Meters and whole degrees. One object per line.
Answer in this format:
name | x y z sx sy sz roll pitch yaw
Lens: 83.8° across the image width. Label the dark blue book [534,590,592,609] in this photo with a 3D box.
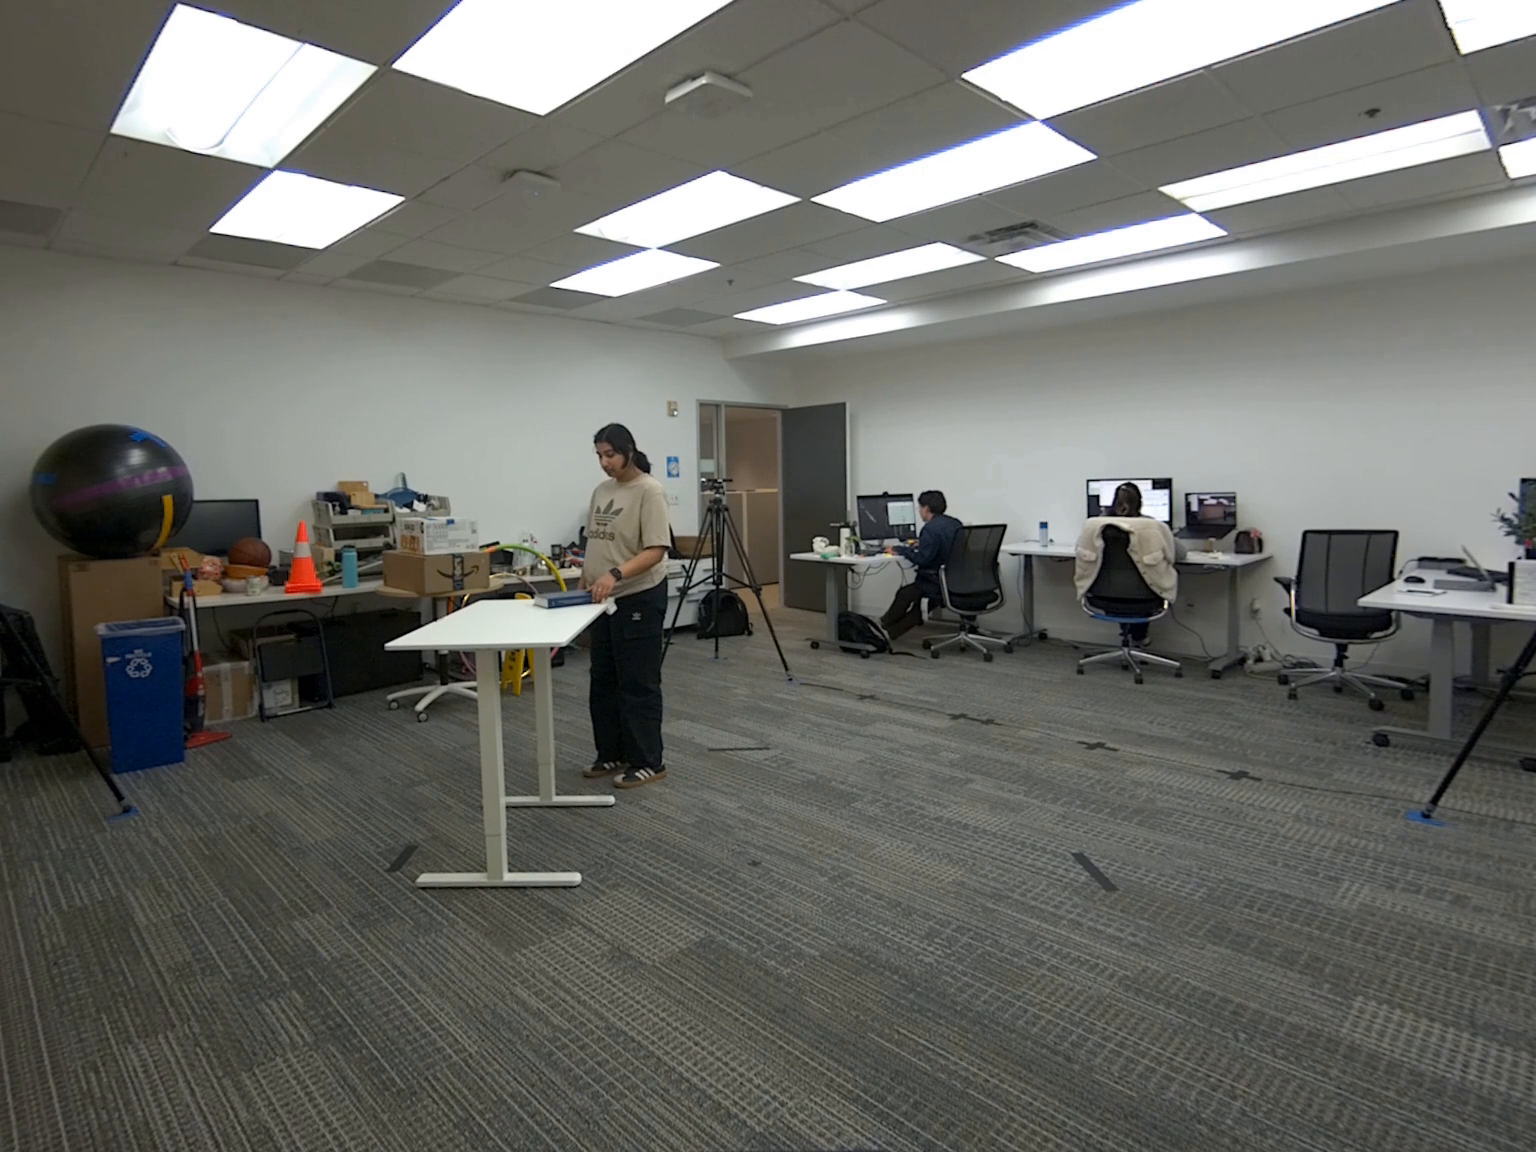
dark blue book | -0.868 0.100 3.634 0.239 0.045 0.168 -7 9 -36
